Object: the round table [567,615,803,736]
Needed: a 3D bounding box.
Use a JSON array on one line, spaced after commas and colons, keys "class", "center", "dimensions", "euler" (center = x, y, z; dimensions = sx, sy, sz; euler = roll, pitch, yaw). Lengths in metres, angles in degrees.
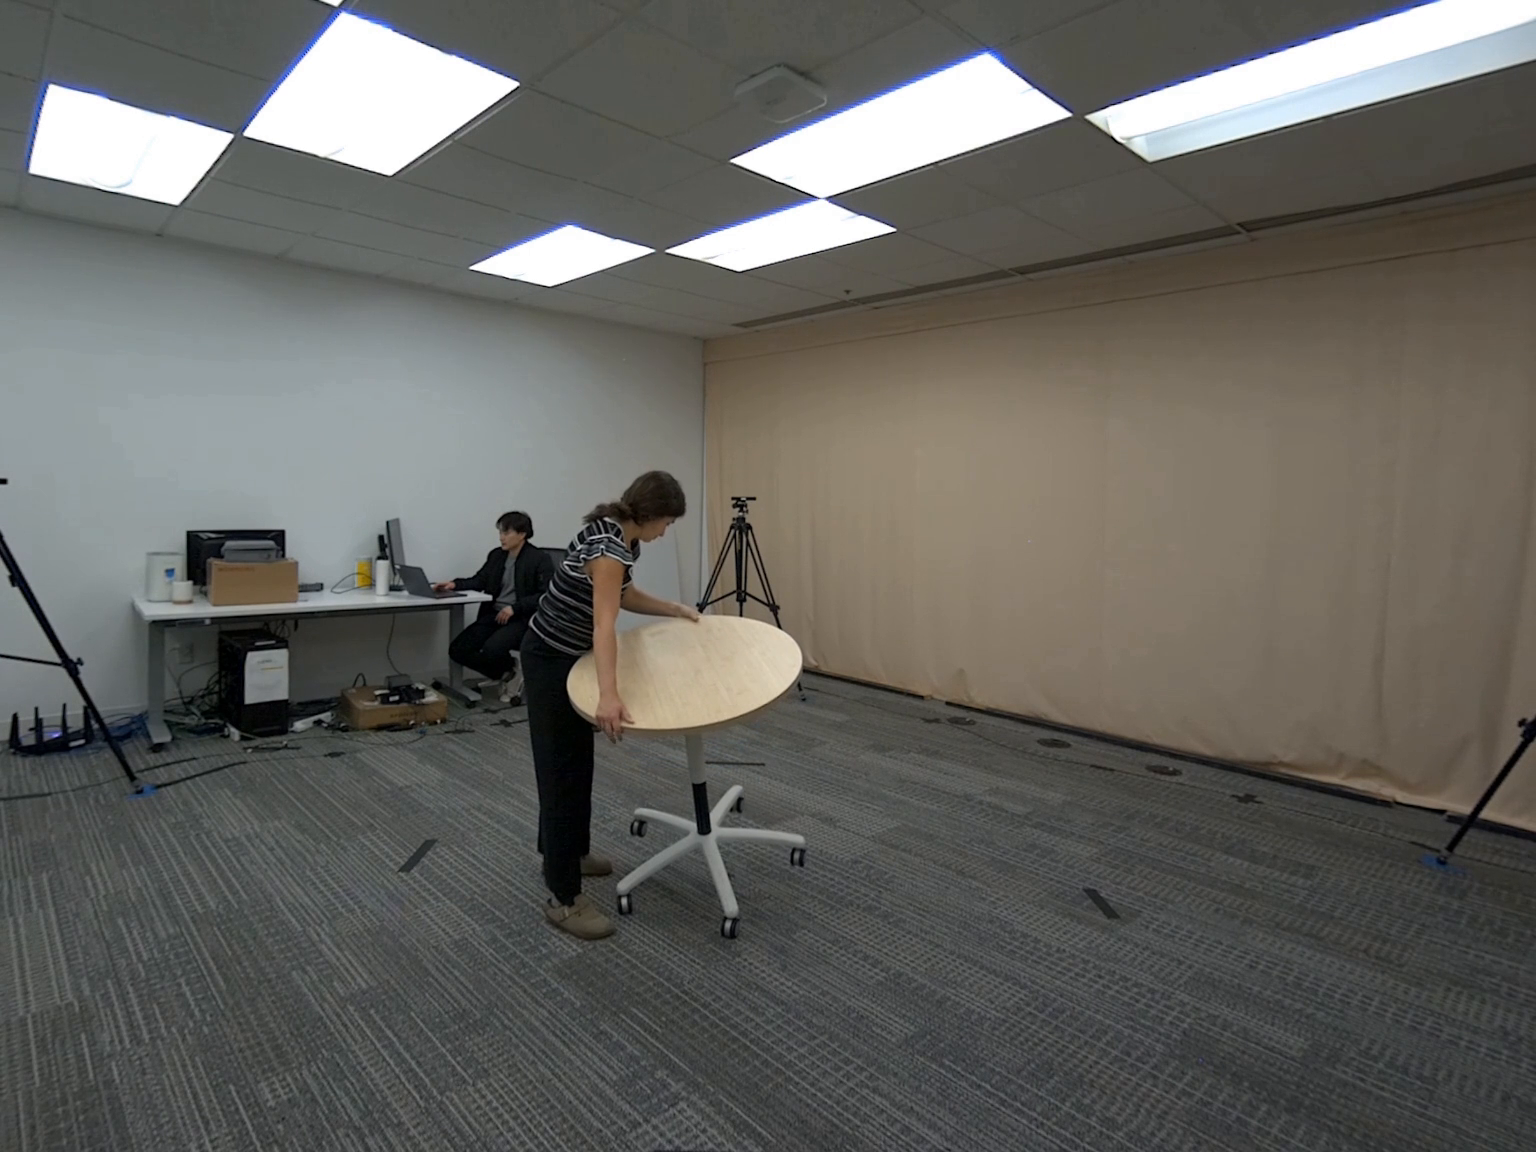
[{"class": "round table", "center": [-0.249, 0.653, 2.886], "dimensions": [0.785, 0.775, 0.796], "euler": [-4, 20, 0]}]
